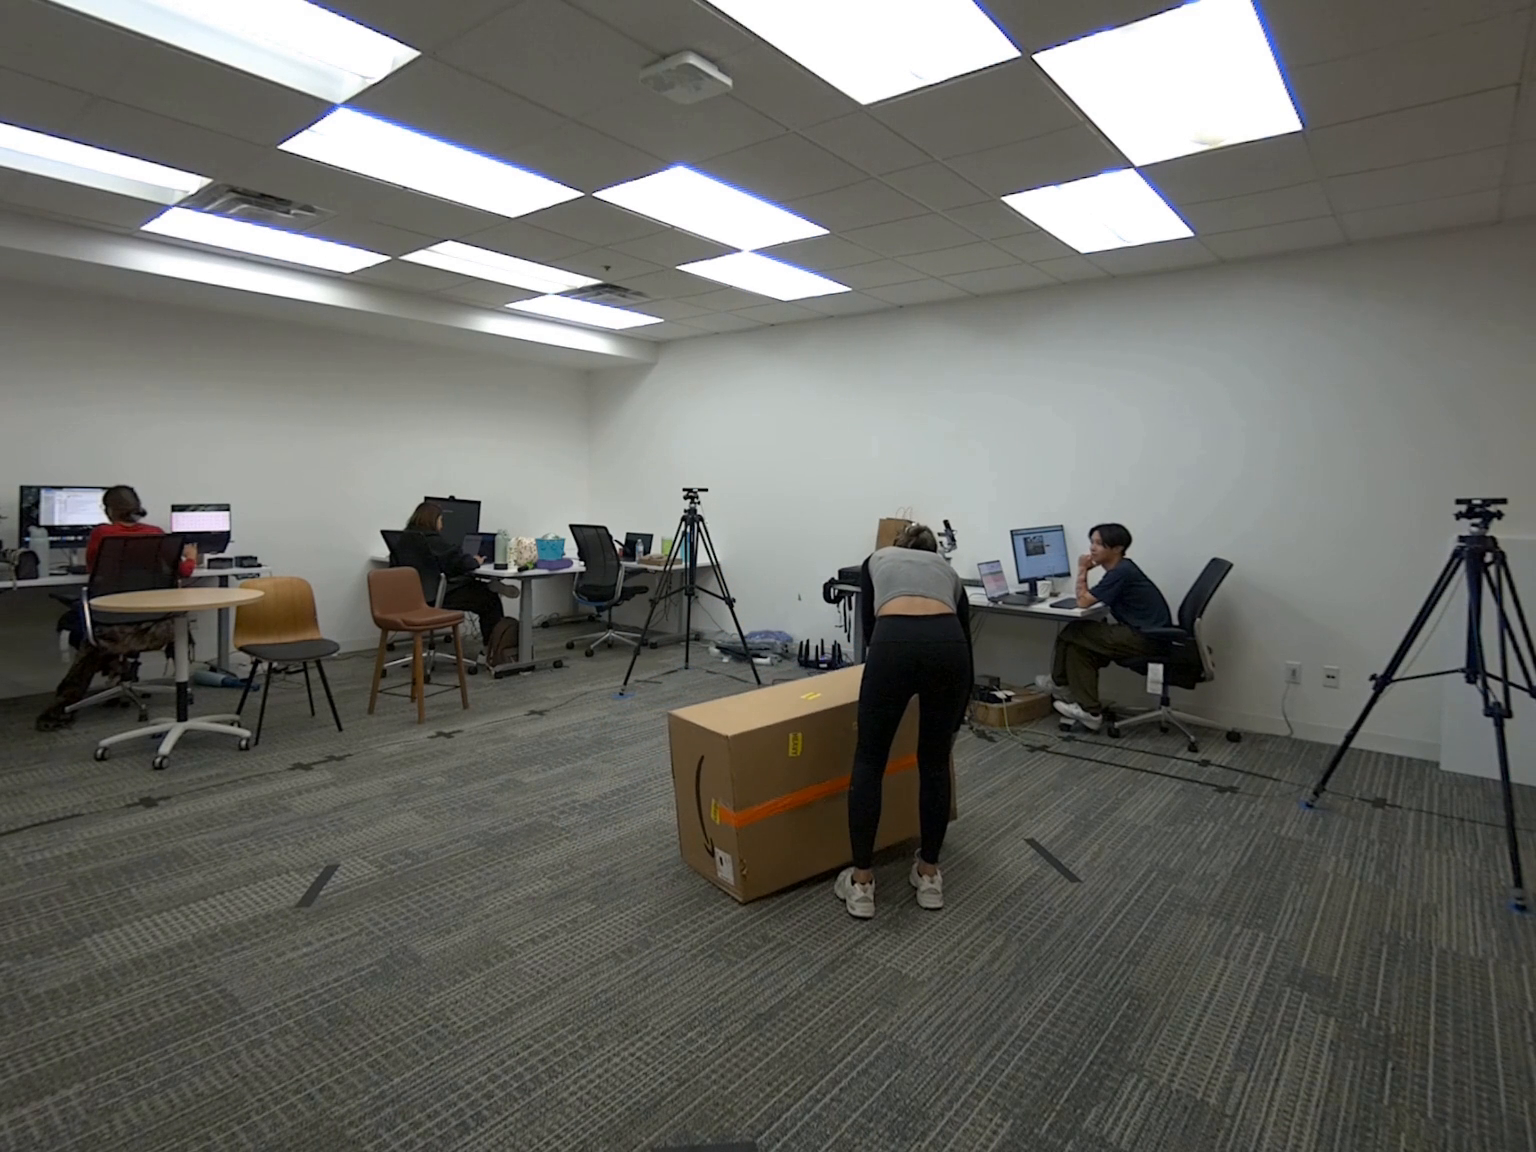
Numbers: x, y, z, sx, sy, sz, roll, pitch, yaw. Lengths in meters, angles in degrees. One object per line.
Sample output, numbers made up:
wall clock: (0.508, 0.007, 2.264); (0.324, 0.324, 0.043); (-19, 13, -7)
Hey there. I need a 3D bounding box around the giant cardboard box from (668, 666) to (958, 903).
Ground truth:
giant cardboard box: (0.168, 0.728, 3.250); (1.001, 0.581, 0.461); (-8, 7, -33)
